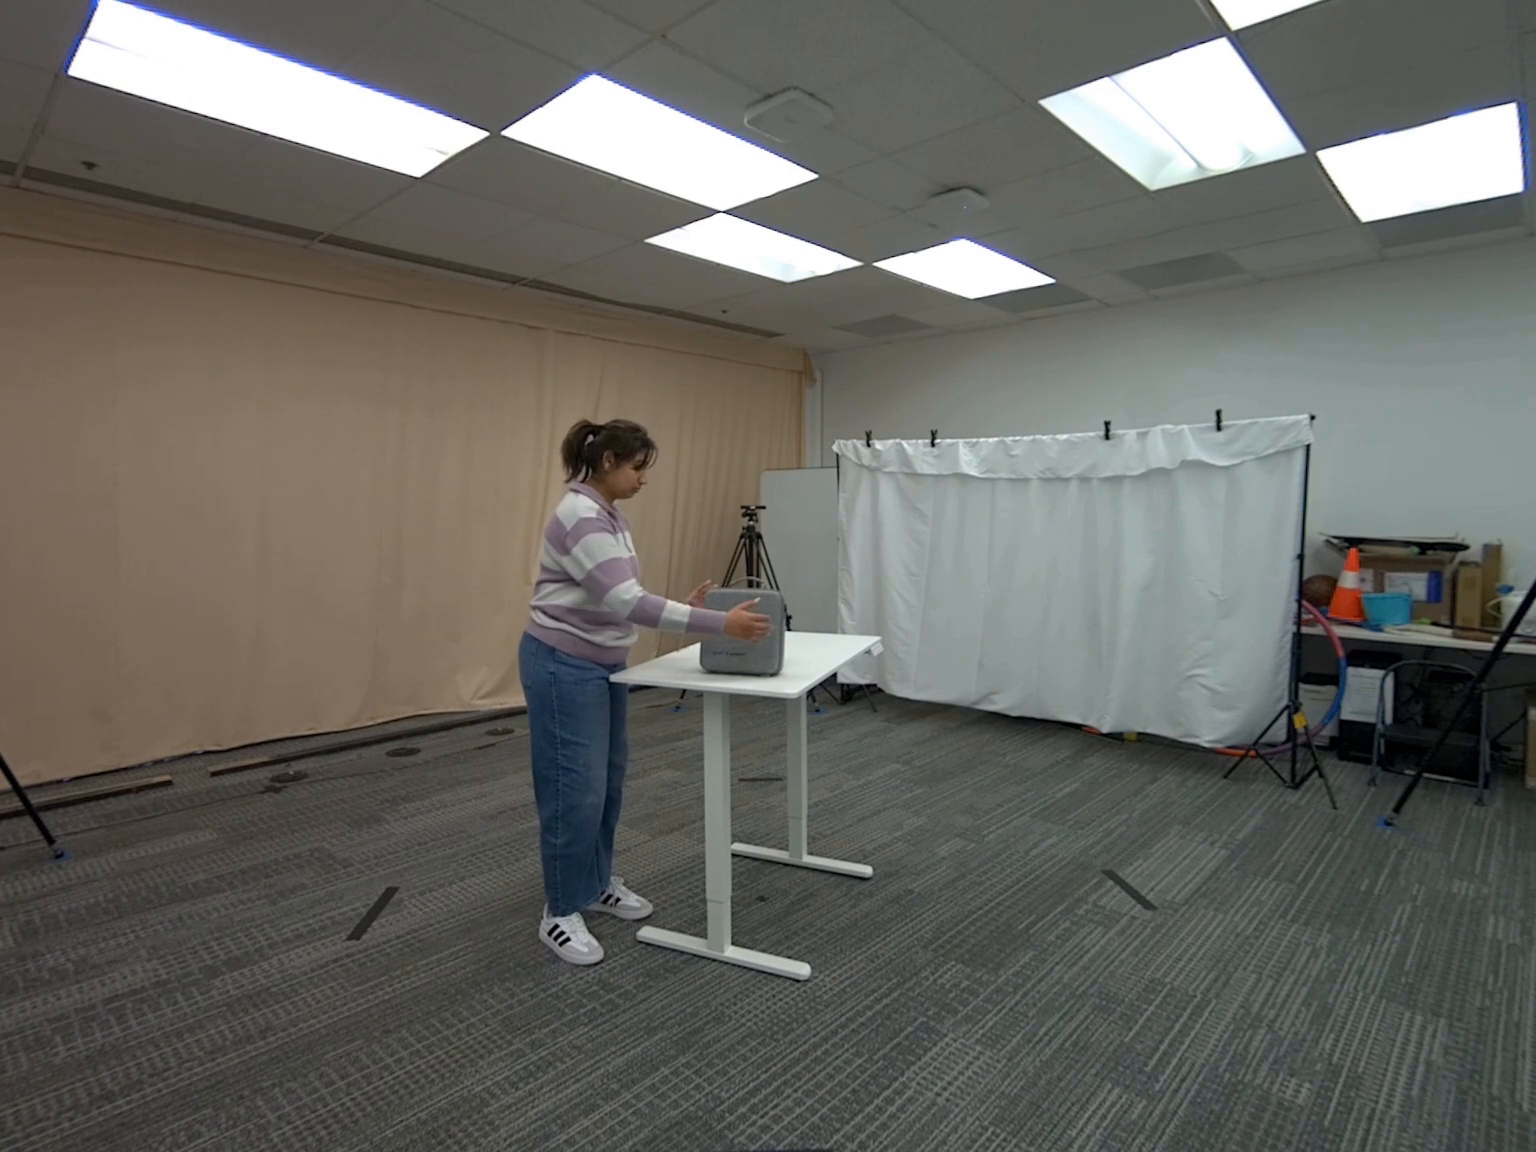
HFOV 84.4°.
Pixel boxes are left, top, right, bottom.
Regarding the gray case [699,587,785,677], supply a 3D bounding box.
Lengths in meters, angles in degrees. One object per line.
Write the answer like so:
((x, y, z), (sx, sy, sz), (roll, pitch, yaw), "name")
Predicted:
((-0.072, 0.167, 2.578), (0.261, 0.262, 0.102), (1, -8, 15), "gray case")
